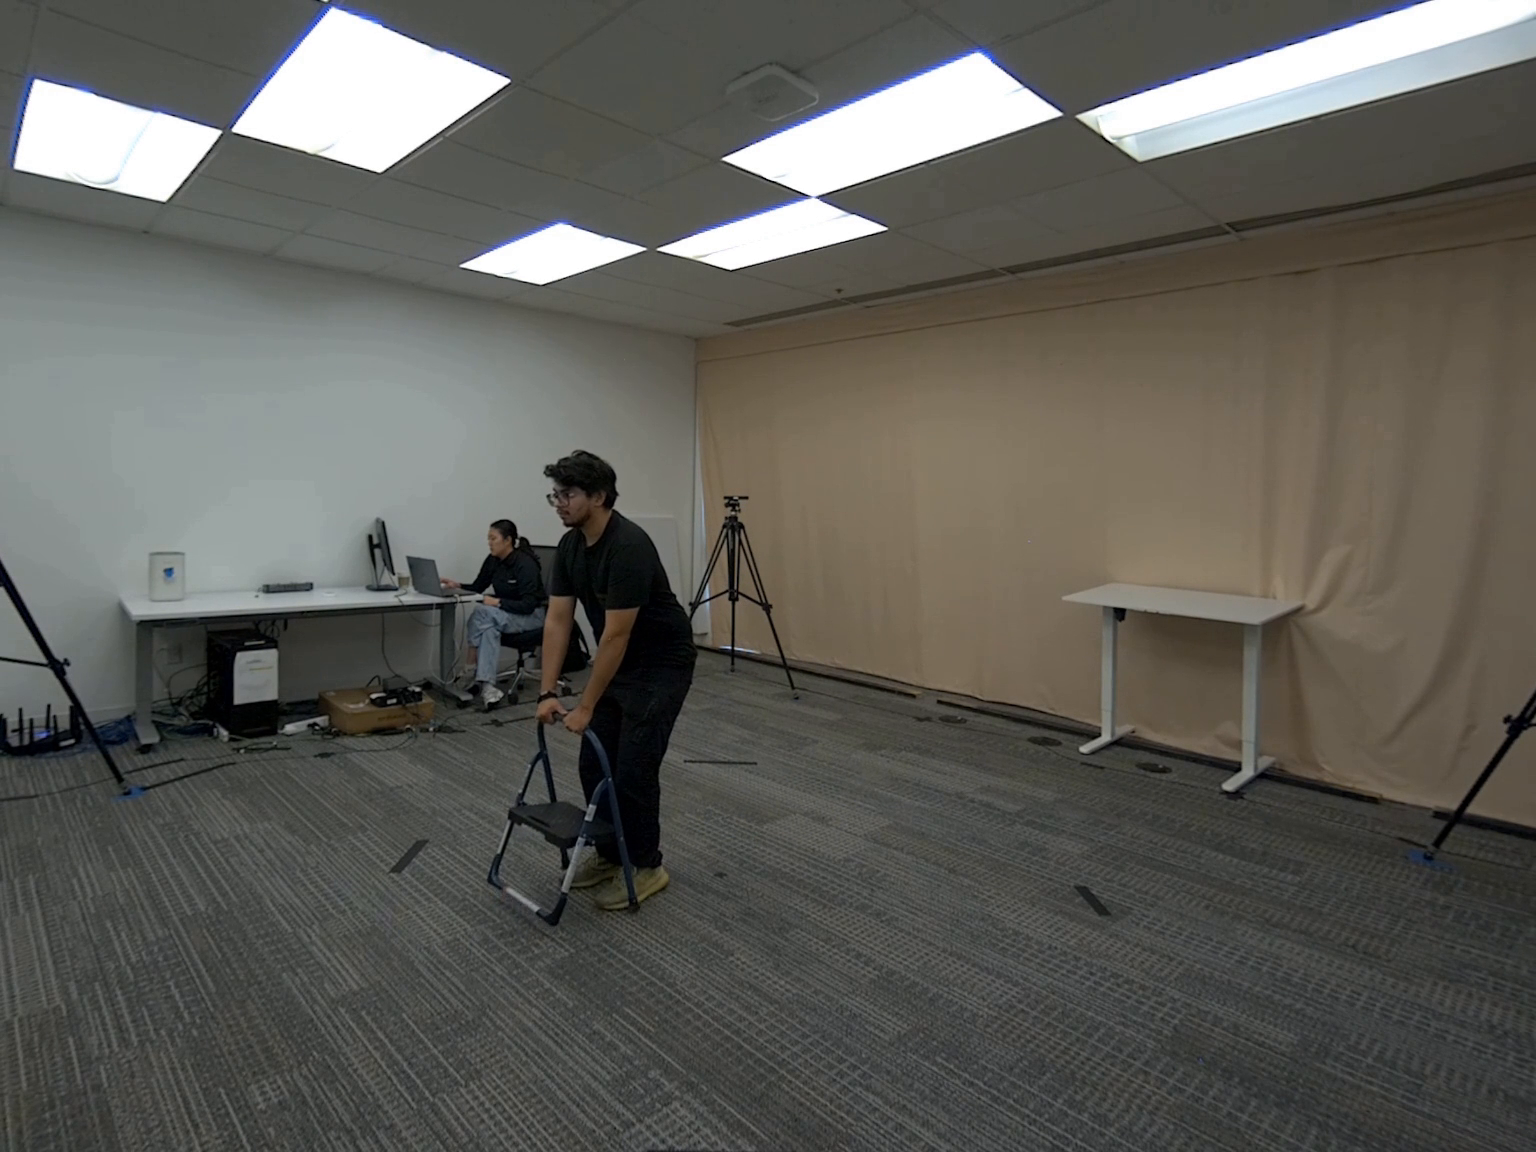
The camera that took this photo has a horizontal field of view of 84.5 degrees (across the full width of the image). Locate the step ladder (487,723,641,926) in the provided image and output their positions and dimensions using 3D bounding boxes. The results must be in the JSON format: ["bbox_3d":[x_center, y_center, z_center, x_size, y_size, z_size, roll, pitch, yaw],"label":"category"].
[{"bbox_3d":[-0.678,0.776,2.846,0.441,0.607,0.340,4,-3,43],"label":"step ladder"}]
